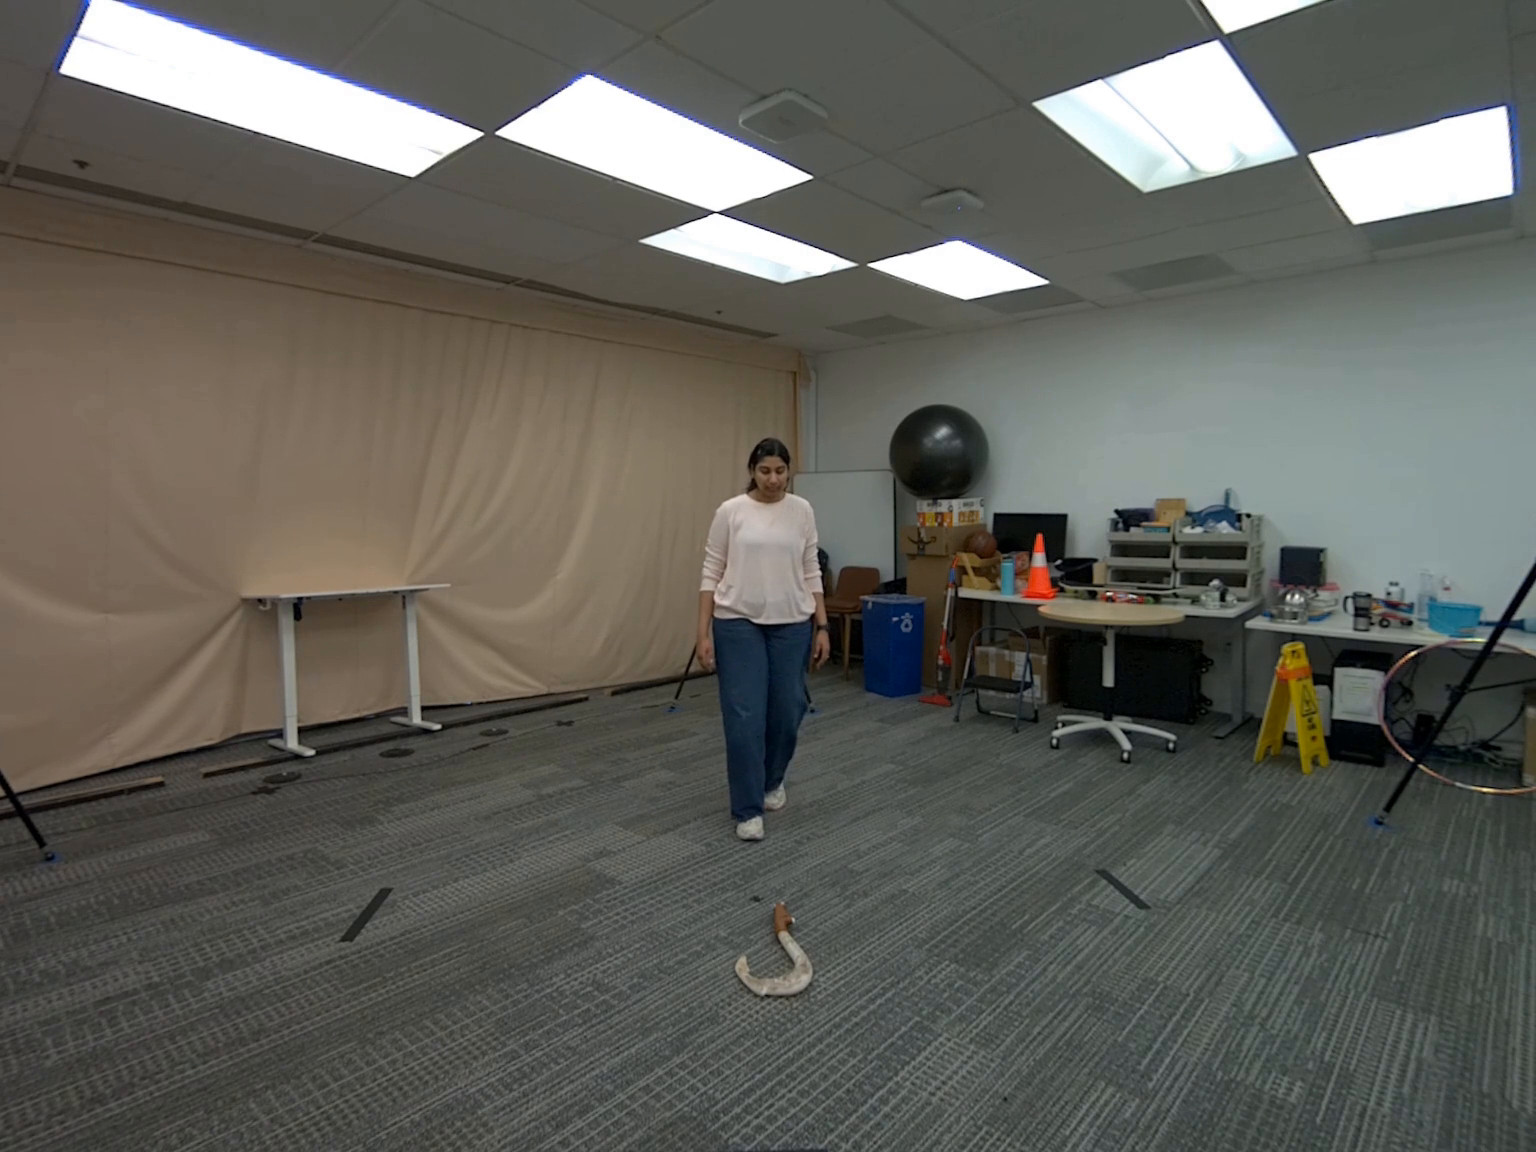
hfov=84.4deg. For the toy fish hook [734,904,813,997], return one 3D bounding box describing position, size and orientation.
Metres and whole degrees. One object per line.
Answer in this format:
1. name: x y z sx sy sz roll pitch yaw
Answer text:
1. toy fish hook: 0.005 1.144 2.623 0.224 0.048 0.510 1 5 -5
